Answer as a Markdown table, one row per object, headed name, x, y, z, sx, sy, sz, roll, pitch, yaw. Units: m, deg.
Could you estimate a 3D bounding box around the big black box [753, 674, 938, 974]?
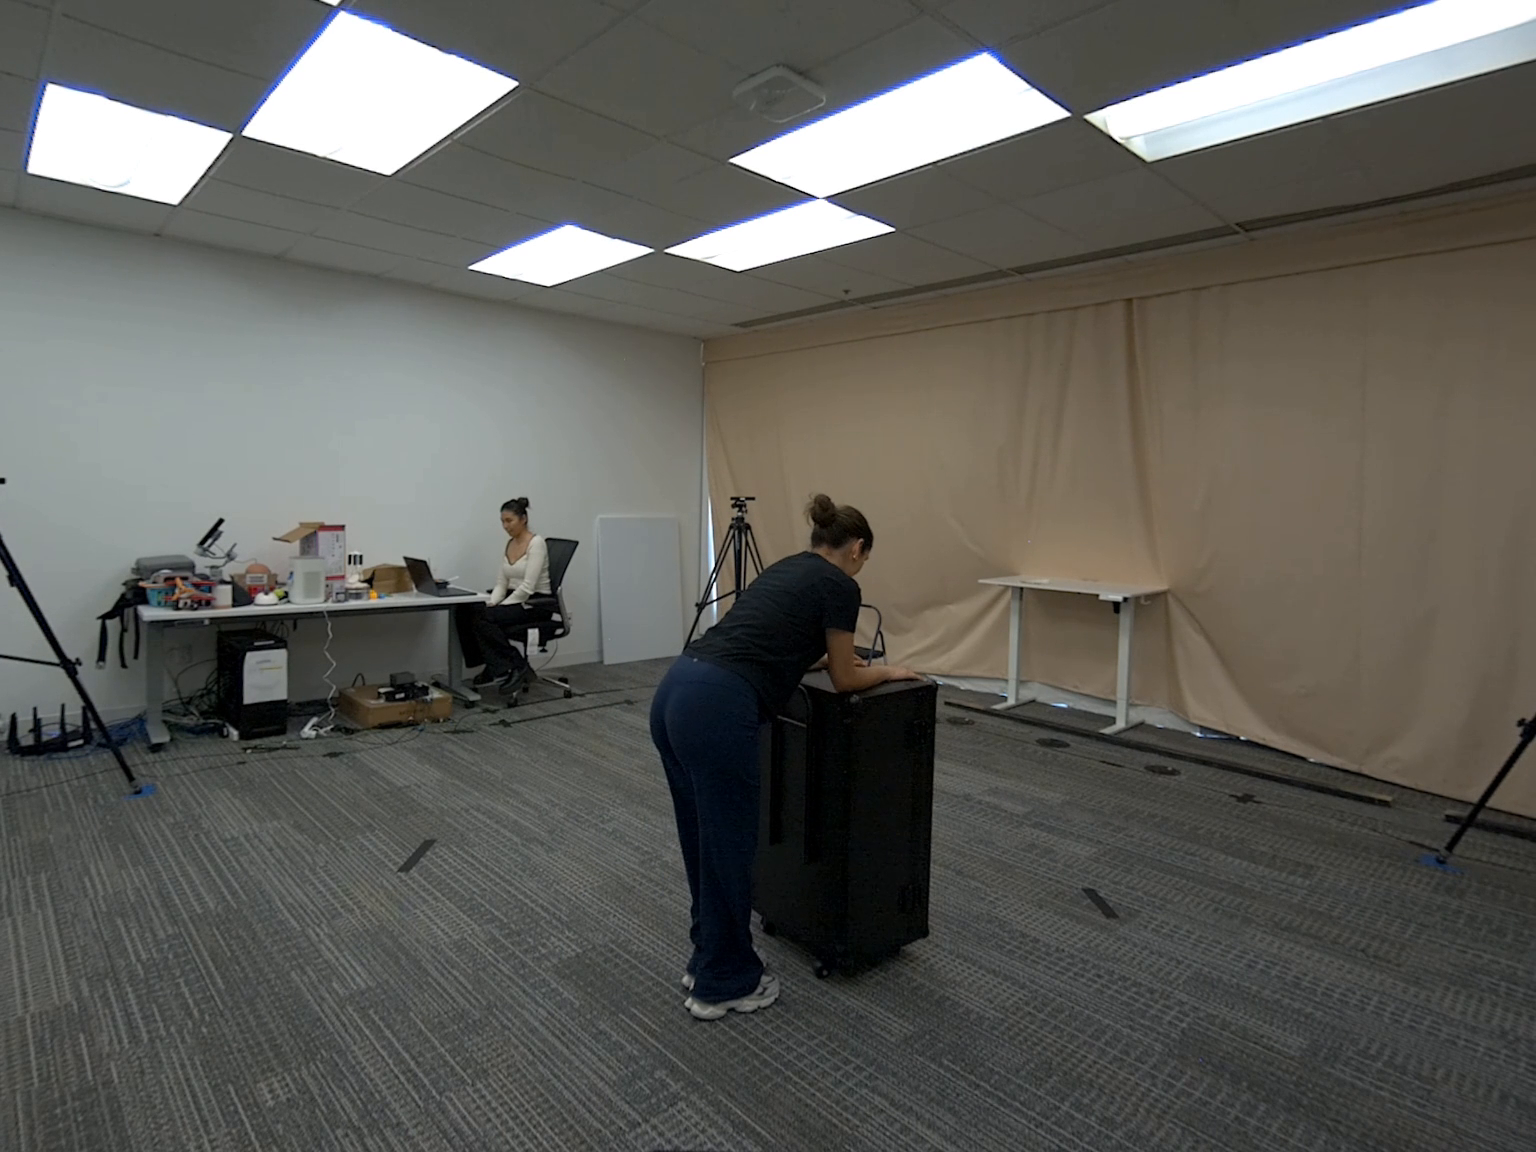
| name | x | y | z | sx | sy | sz | roll | pitch | yaw |
| --- | --- | --- | --- | --- | --- | --- | --- | --- | --- |
| big black box | 0.205 | 0.674 | 2.618 | 0.387 | 0.859 | 0.534 | -1 | 5 | -39 |
